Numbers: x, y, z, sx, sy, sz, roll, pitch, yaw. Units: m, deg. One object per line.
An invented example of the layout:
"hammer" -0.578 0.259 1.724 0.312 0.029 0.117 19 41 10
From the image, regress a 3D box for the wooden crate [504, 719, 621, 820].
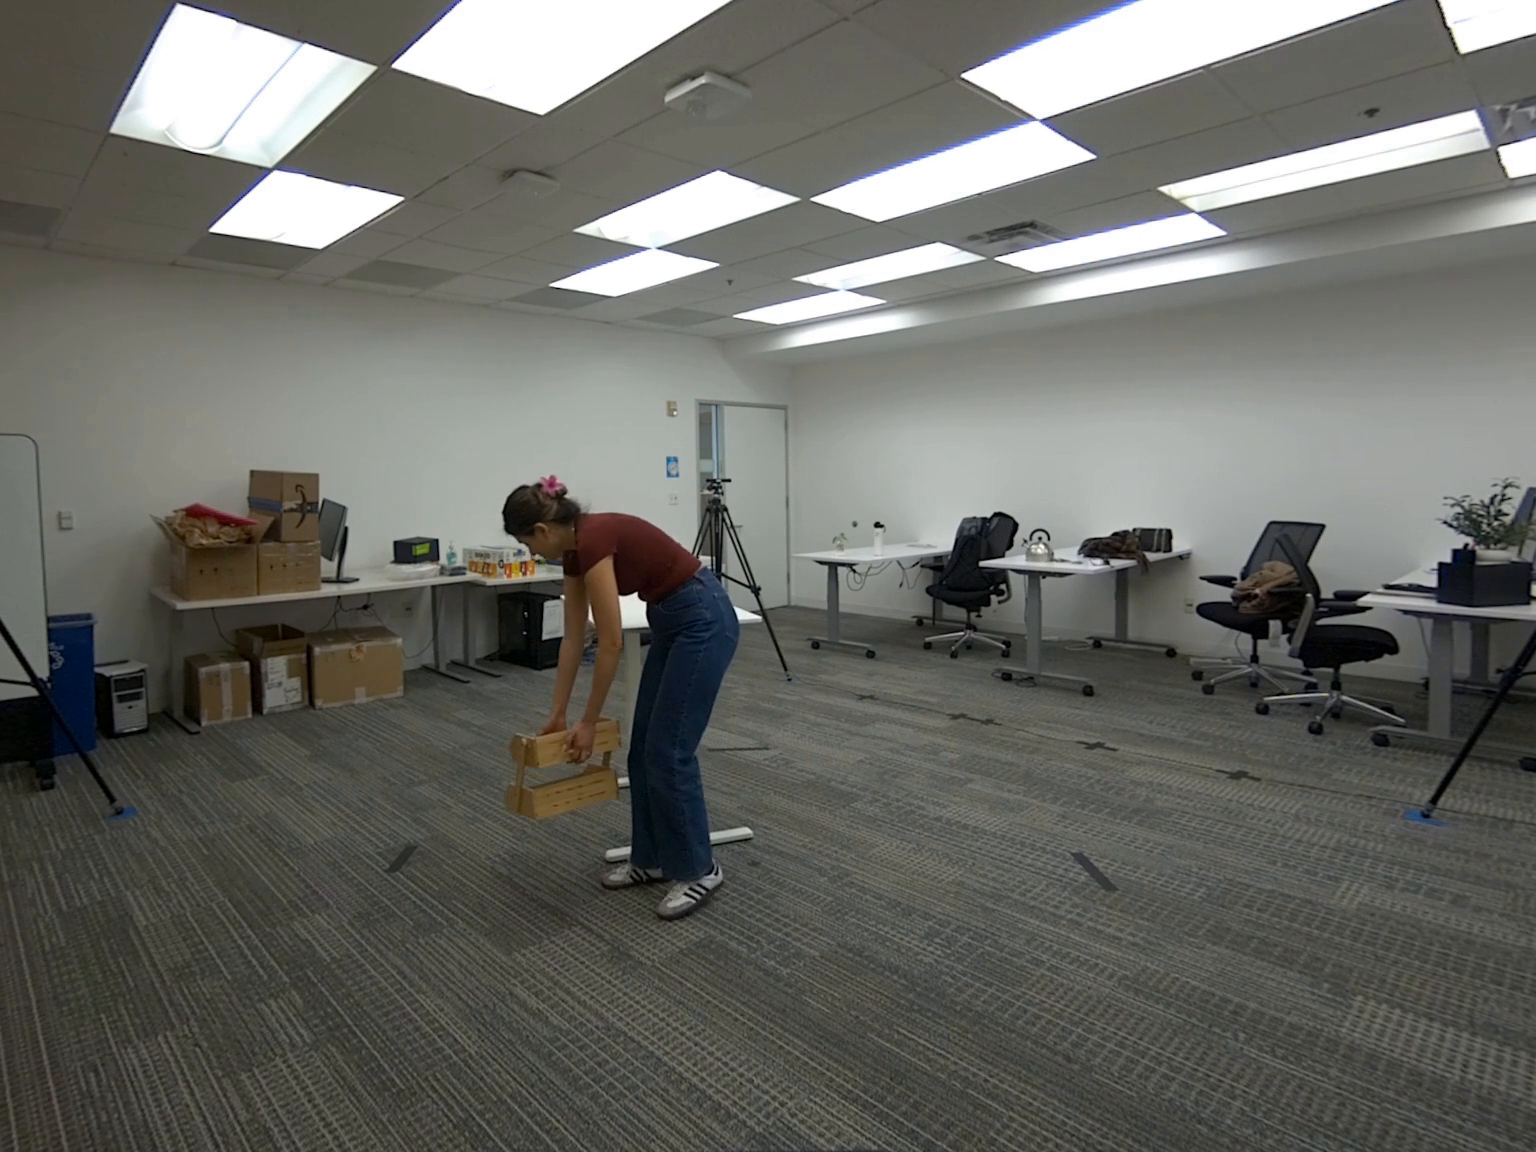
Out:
"wooden crate" -0.681 0.621 2.825 0.316 0.274 0.309 -5 -1 -38
